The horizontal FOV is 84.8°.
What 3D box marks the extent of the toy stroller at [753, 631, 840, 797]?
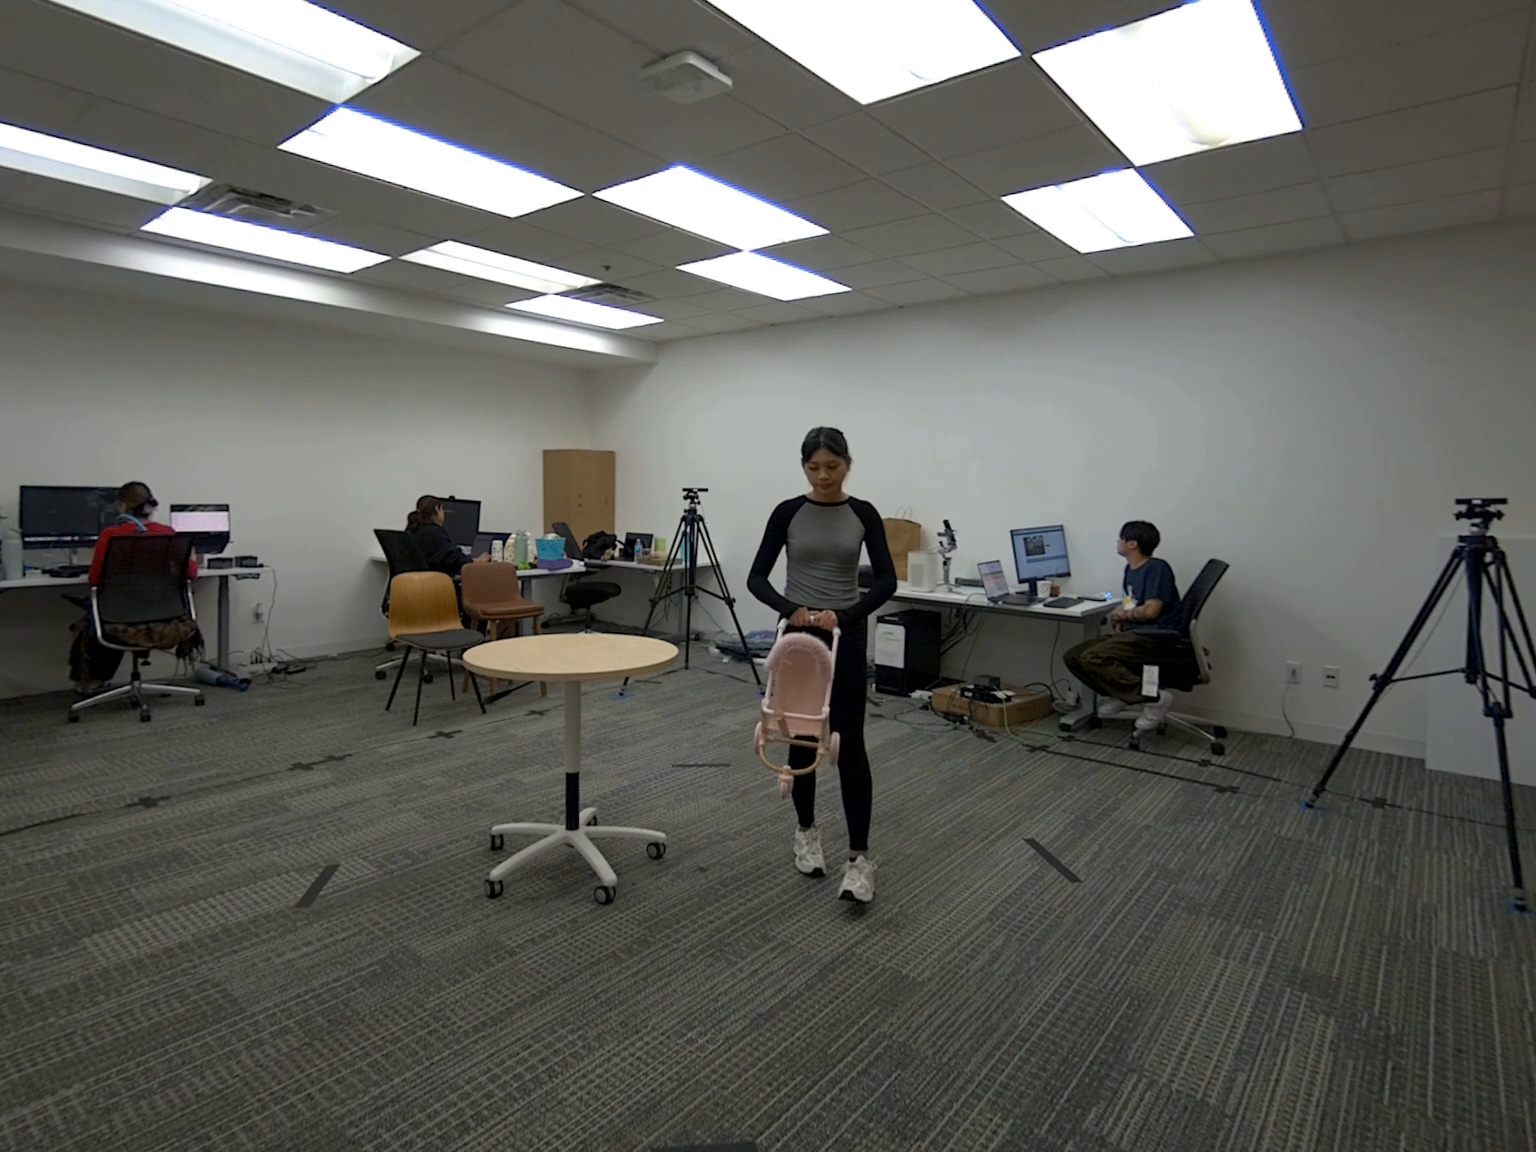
[{"bbox_3d":[0.086,0.410,2.720,0.287,0.534,0.336,8,3,15],"label":"toy stroller"}]
